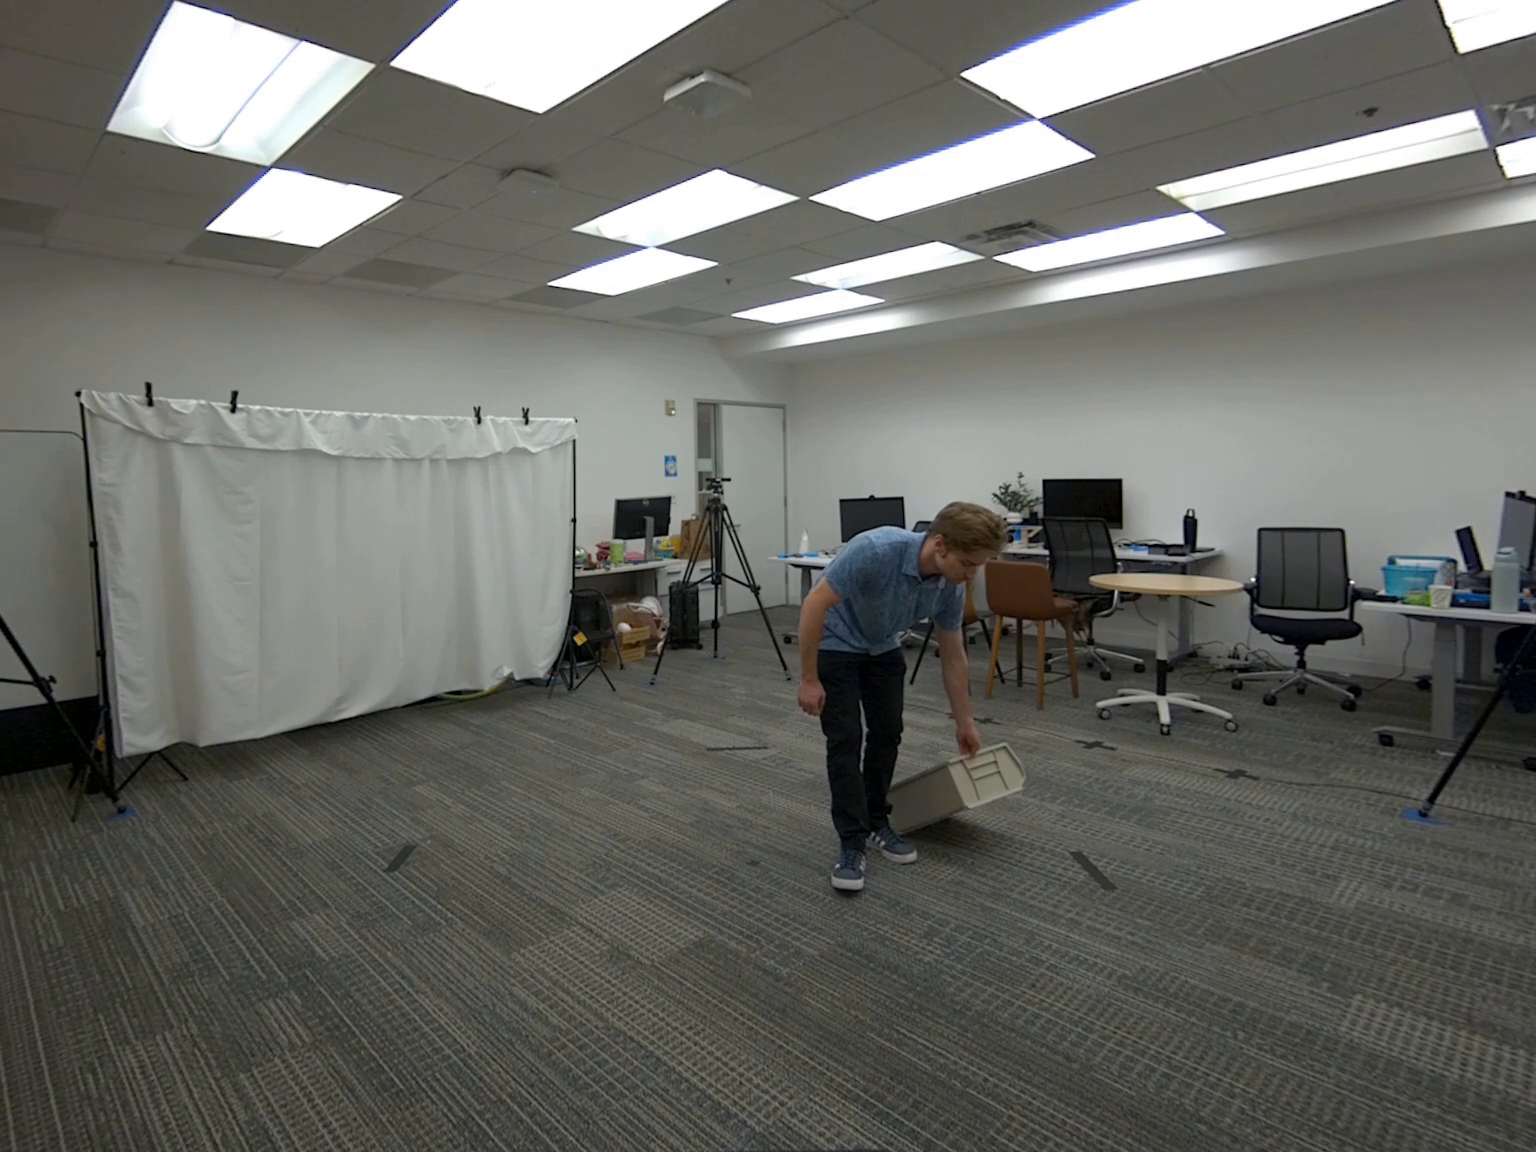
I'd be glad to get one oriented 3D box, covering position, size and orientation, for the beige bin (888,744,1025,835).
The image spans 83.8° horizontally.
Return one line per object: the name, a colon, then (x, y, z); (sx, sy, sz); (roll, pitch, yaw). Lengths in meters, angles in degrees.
beige bin: (0.716, 0.826, 3.299); (0.368, 0.193, 0.423); (-6, -23, -38)
